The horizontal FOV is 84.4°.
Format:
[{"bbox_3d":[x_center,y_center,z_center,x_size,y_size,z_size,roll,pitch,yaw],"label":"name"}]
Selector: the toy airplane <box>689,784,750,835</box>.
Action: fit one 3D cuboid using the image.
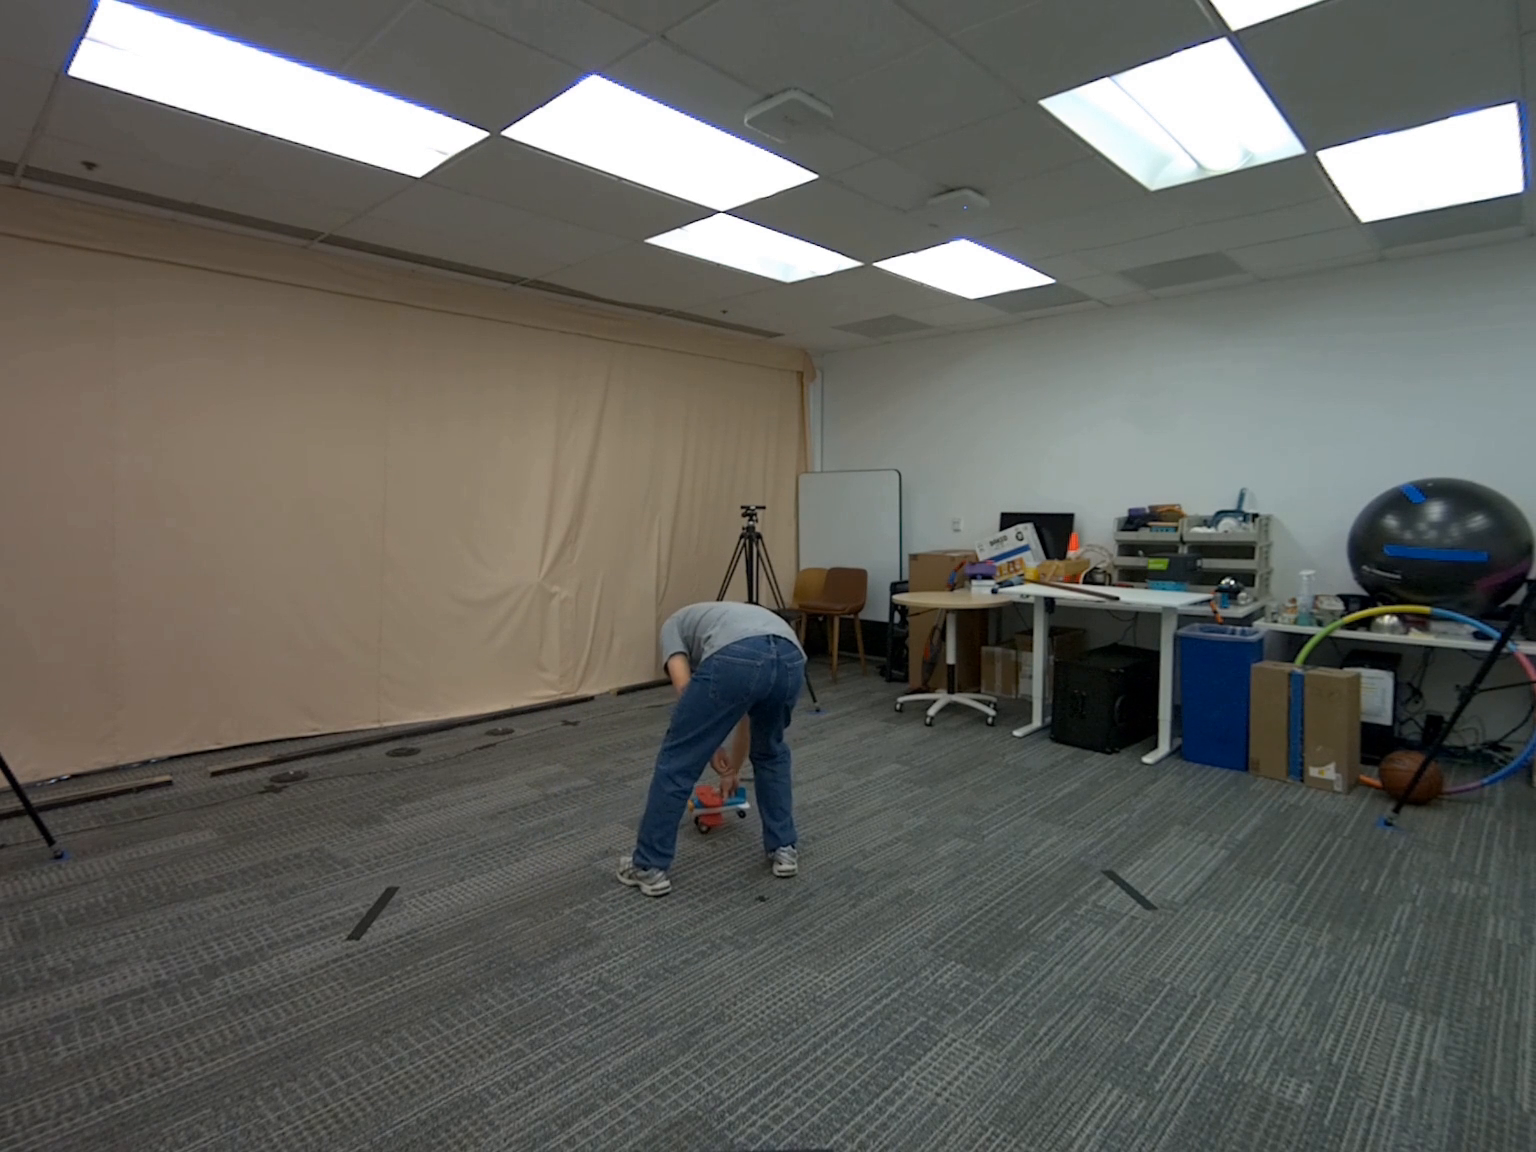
[{"bbox_3d":[-0.214,0.998,3.656,0.253,0.155,0.258,-20,9,-39],"label":"toy airplane"}]
